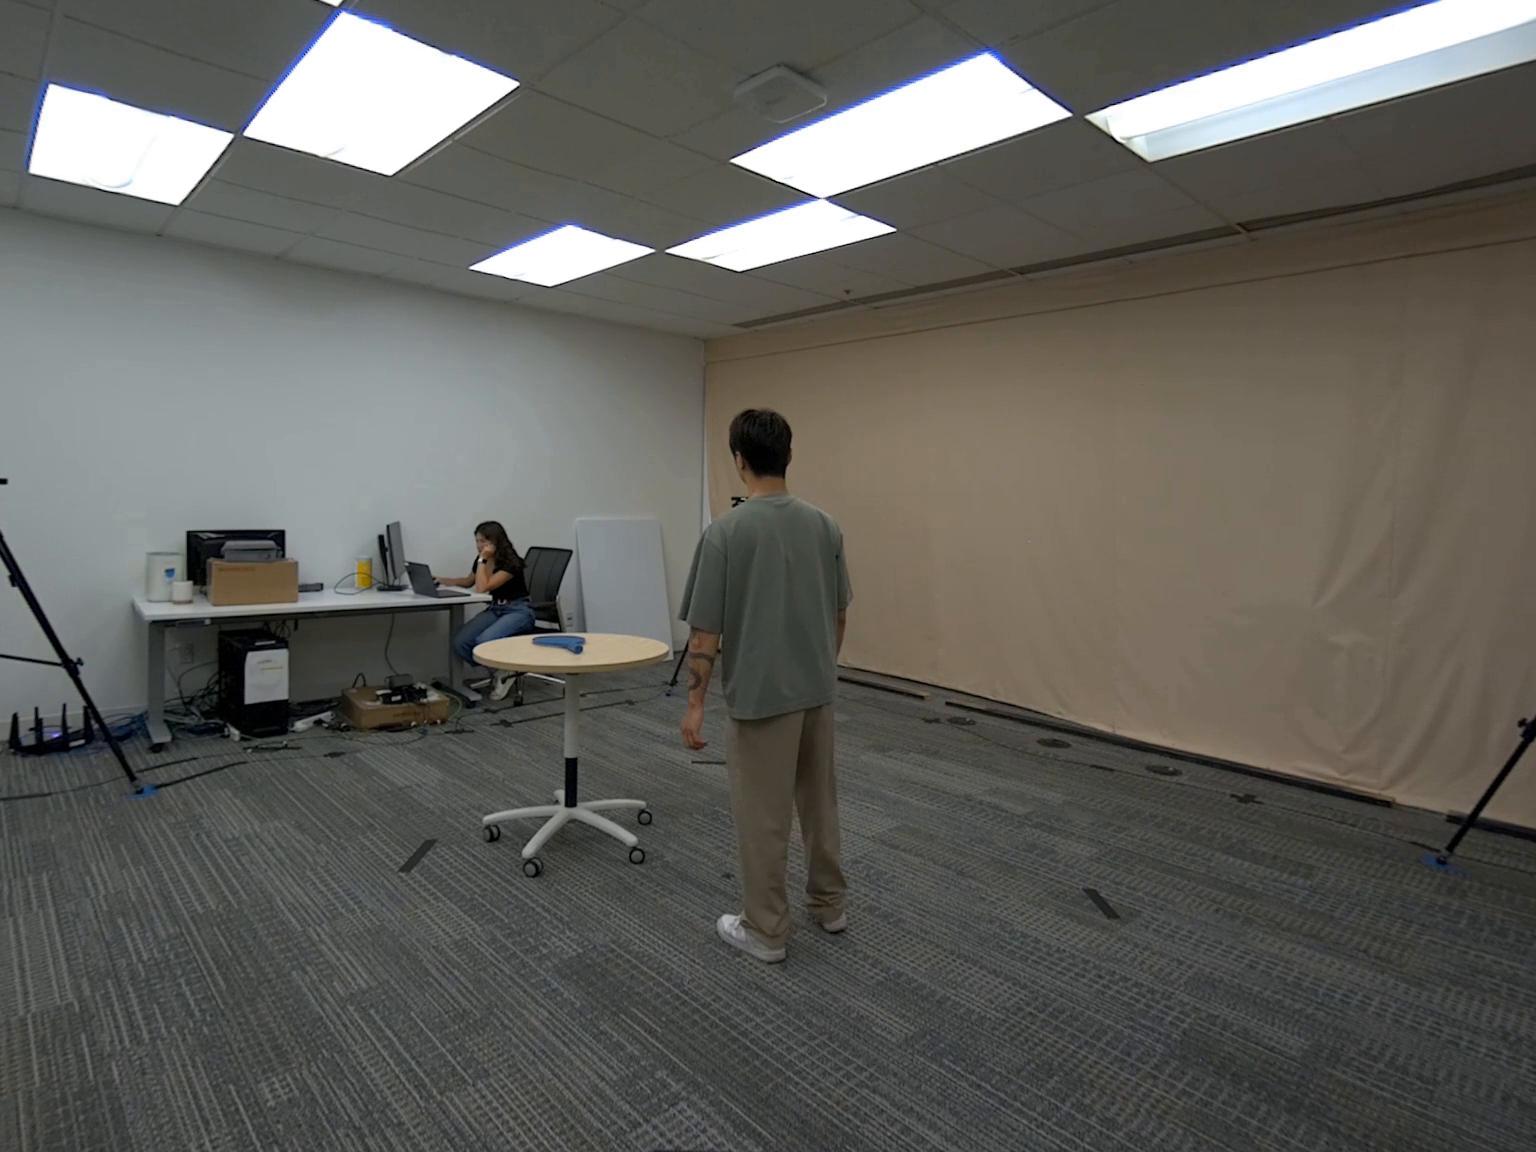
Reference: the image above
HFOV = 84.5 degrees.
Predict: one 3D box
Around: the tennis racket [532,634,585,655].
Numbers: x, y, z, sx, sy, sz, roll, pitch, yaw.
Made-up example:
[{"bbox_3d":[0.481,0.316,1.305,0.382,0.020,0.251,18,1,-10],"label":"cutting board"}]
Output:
[{"bbox_3d":[-0.824,0.266,3.398,0.210,0.032,0.441,-3,4,-25],"label":"tennis racket"}]
